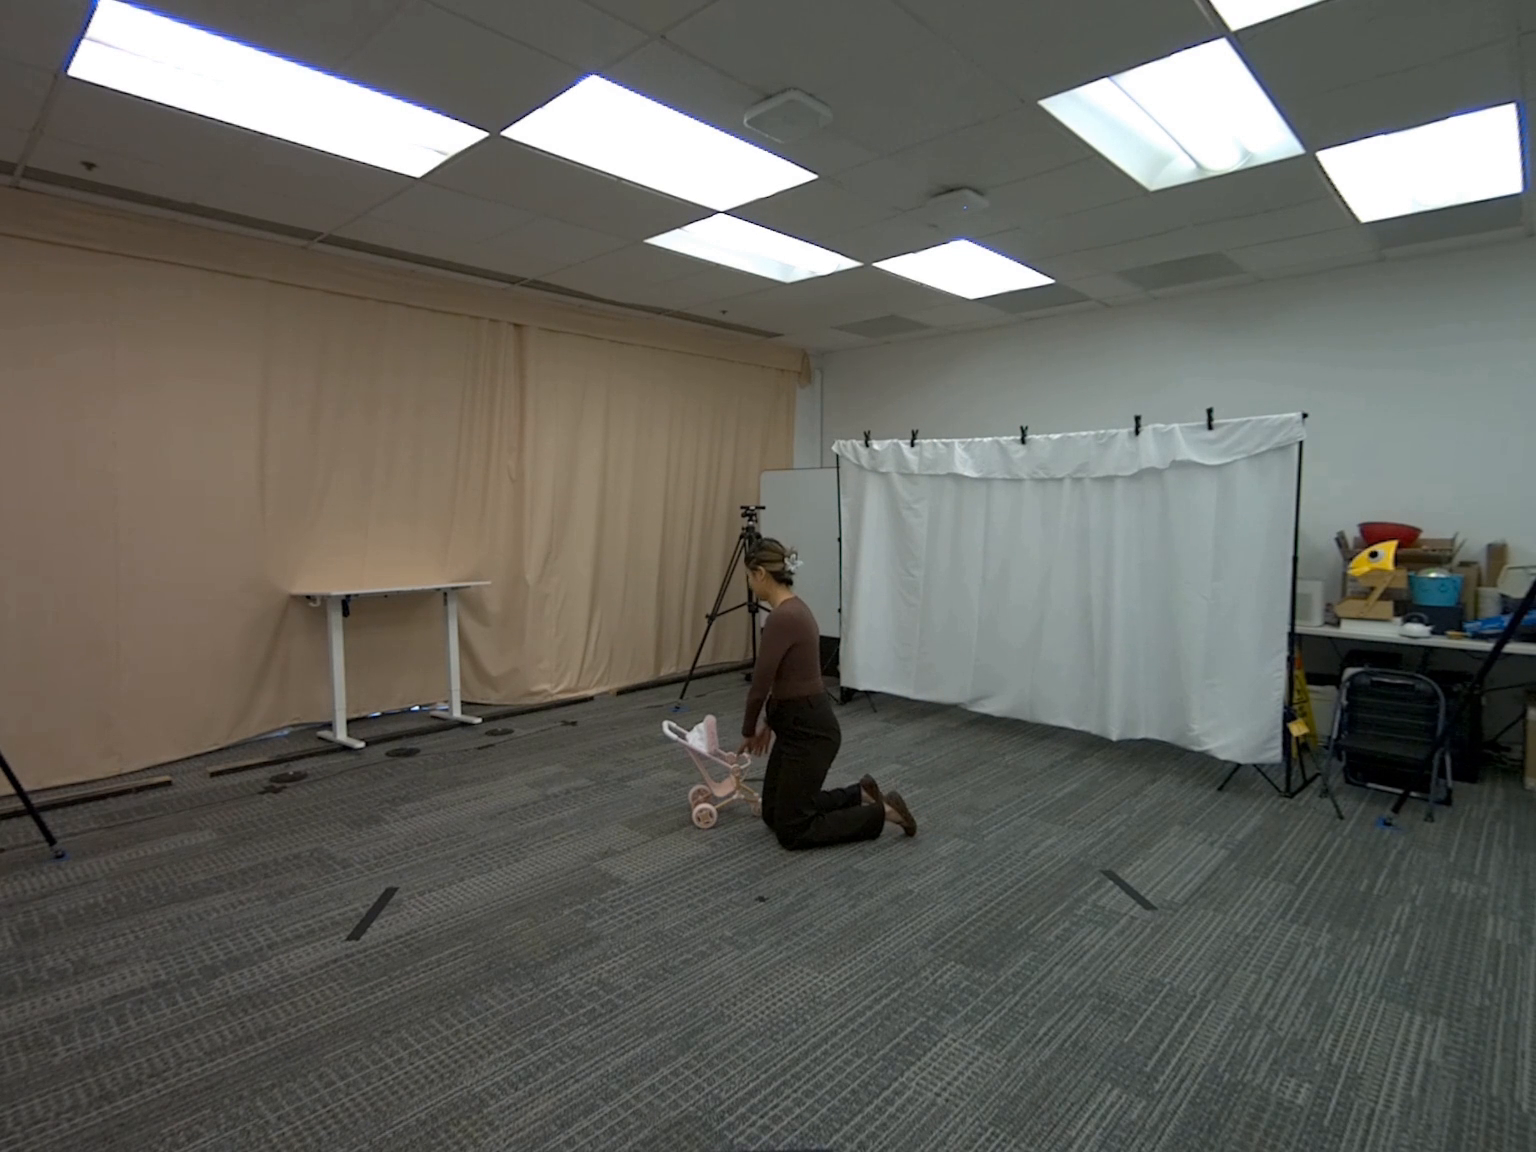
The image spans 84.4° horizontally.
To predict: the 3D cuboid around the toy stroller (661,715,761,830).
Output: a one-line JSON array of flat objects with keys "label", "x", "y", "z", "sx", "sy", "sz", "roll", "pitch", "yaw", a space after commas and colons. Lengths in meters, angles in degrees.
[{"label": "toy stroller", "x": -0.231, "y": 0.862, "z": 3.765, "sx": 0.341, "sy": 0.533, "sz": 0.283, "roll": -17, "pitch": 4, "yaw": -2}]
